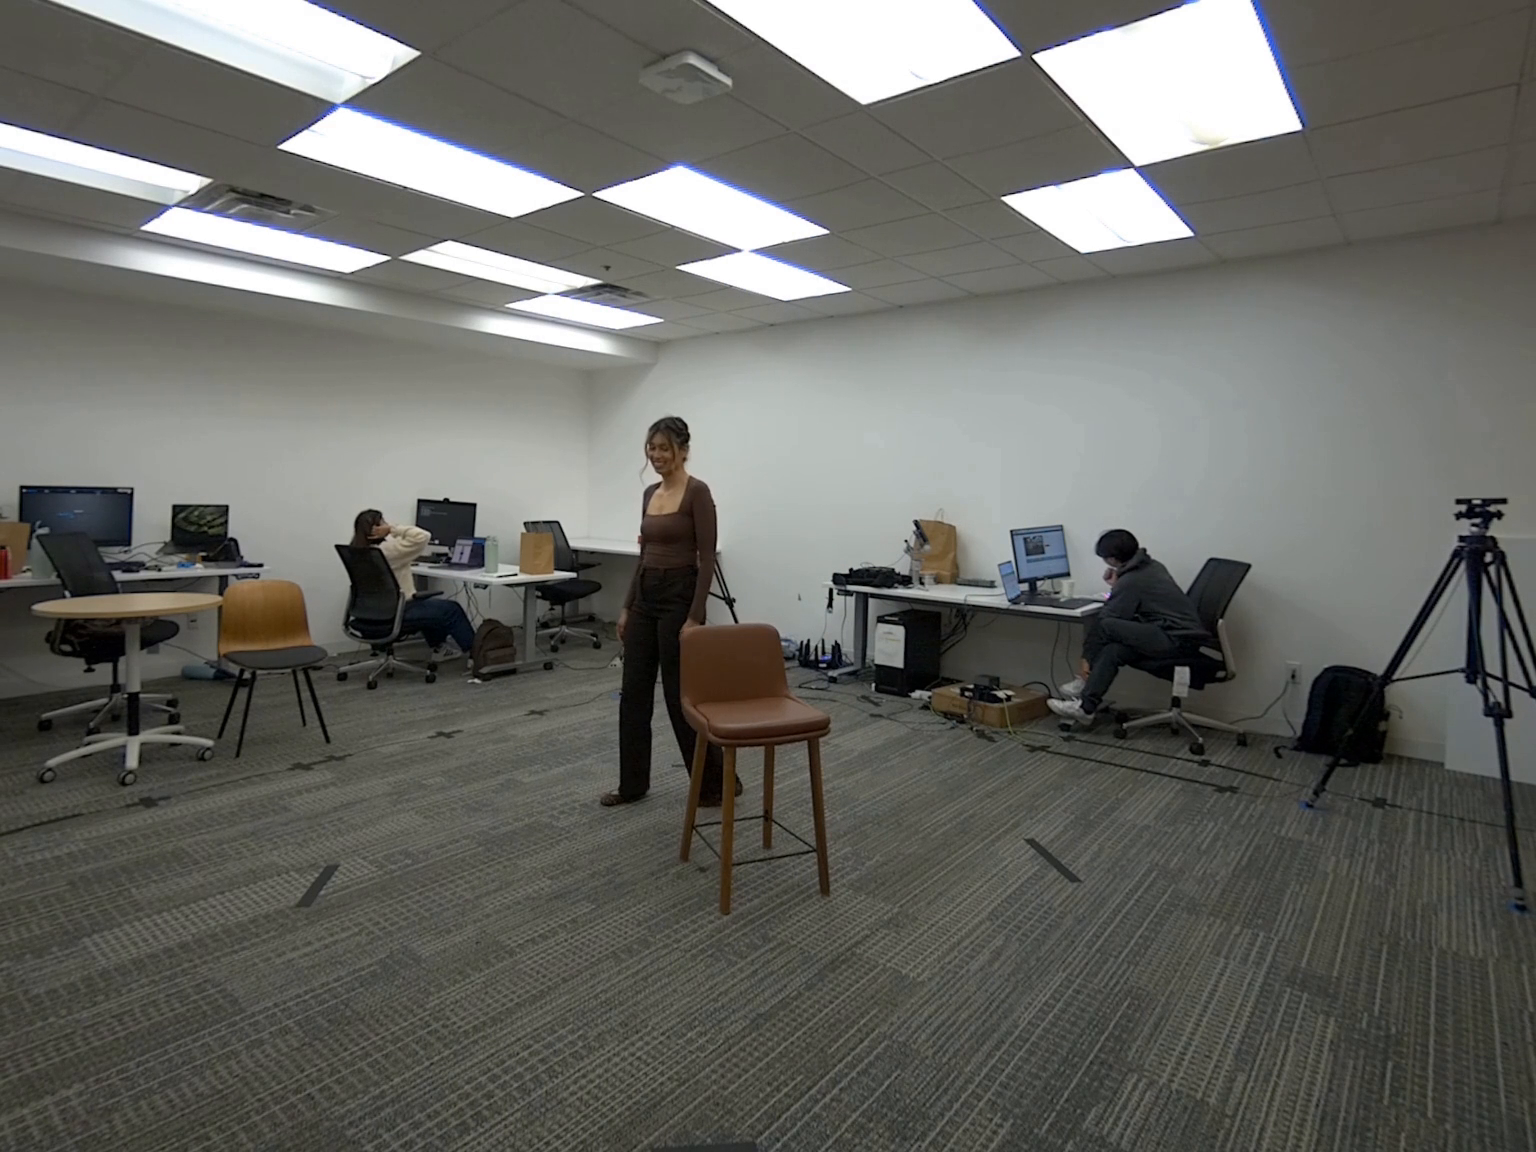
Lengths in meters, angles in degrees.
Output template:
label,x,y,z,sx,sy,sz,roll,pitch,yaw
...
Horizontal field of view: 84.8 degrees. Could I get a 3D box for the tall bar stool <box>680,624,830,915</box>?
label,x,y,z,sx,sy,sz,roll,pitch,yaw
tall bar stool,-0.065,0.641,3.047,0.446,0.889,0.479,0,1,-25
